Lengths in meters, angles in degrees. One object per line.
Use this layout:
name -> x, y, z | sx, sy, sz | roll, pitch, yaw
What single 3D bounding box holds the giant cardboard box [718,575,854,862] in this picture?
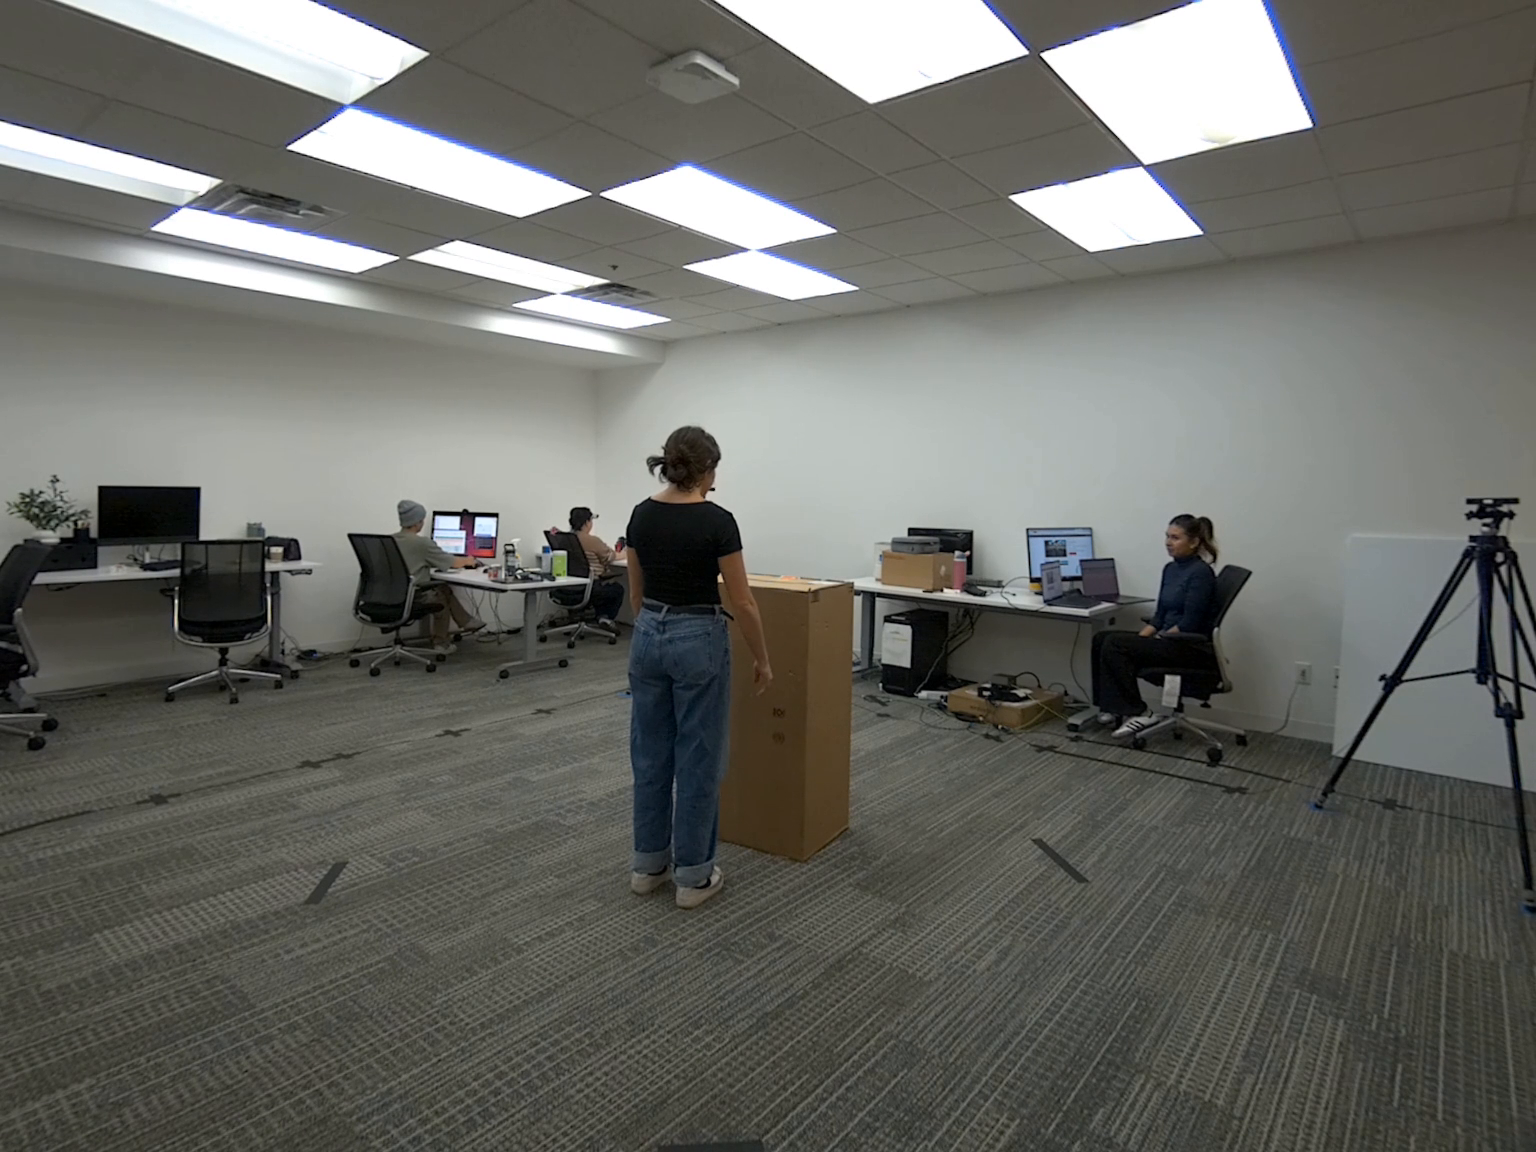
giant cardboard box -> -0.007, 0.525, 3.478 | 0.595, 1.023, 0.415 | 3, 3, 31
